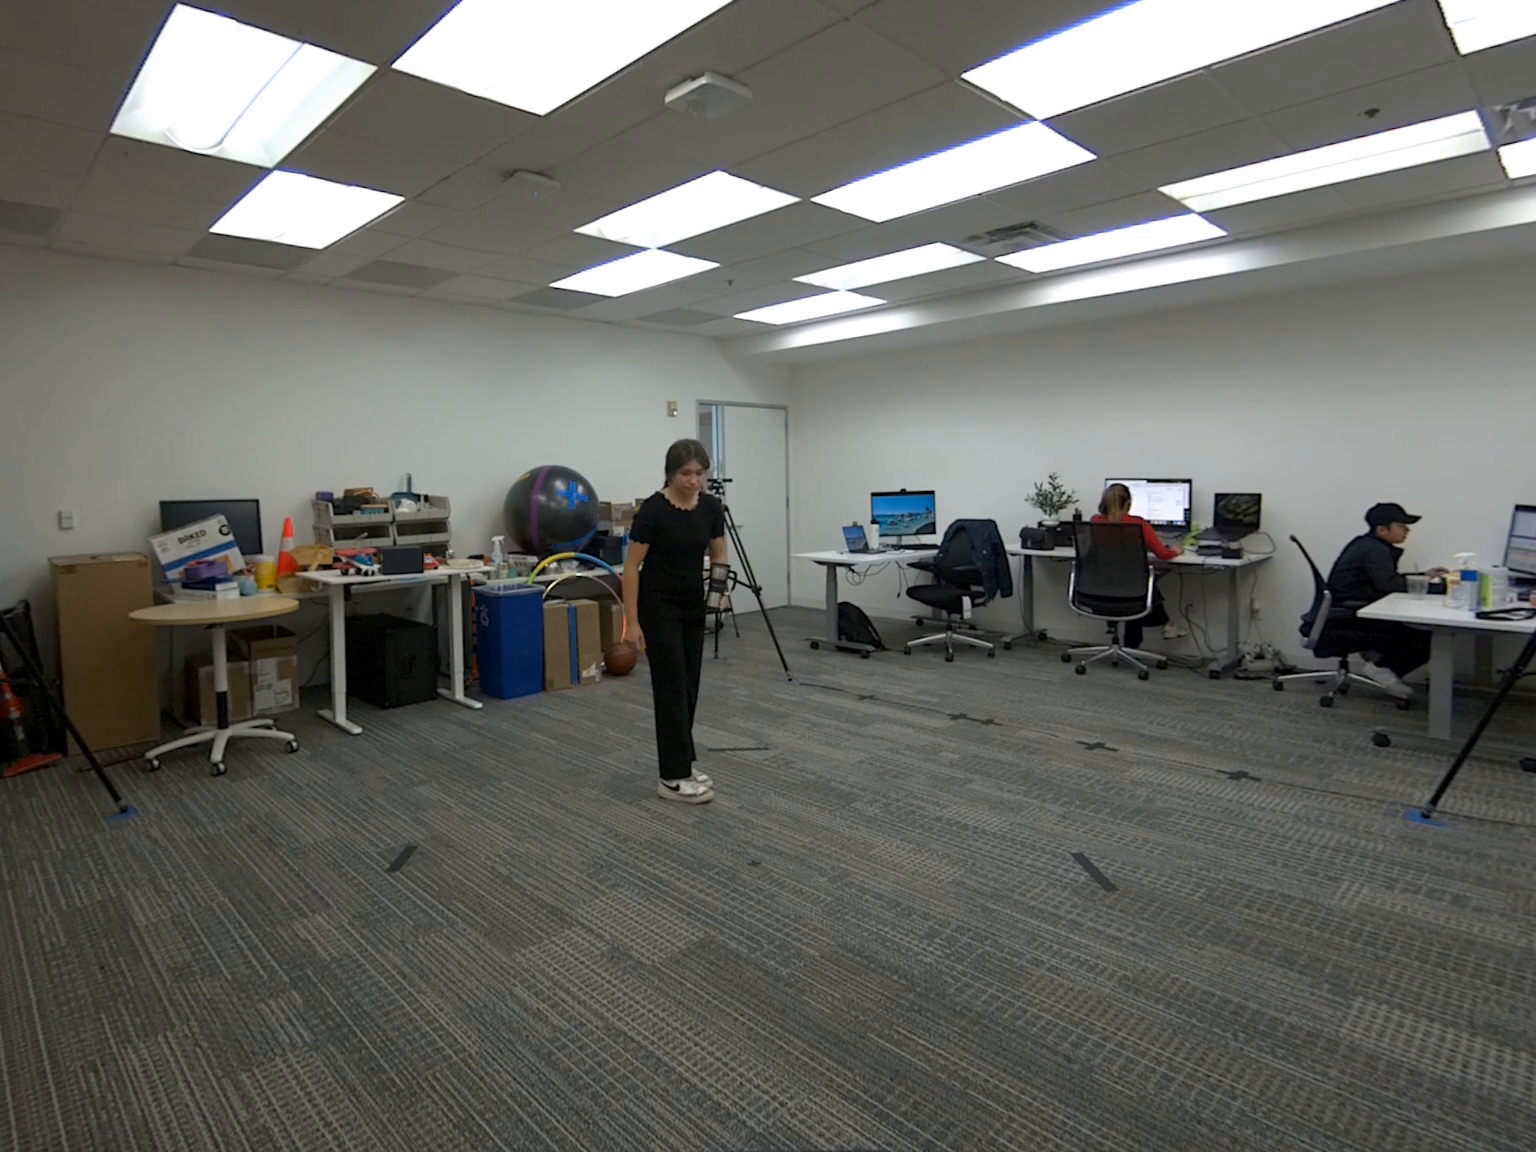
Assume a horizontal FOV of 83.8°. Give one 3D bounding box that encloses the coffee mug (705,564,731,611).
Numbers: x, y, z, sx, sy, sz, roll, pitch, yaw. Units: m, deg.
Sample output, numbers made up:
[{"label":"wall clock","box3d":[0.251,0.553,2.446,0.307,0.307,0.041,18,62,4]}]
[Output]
[{"label":"coffee mug","box3d":[-0.221,0.055,3.722,0.125,0.204,0.085,5,-10,26]}]
